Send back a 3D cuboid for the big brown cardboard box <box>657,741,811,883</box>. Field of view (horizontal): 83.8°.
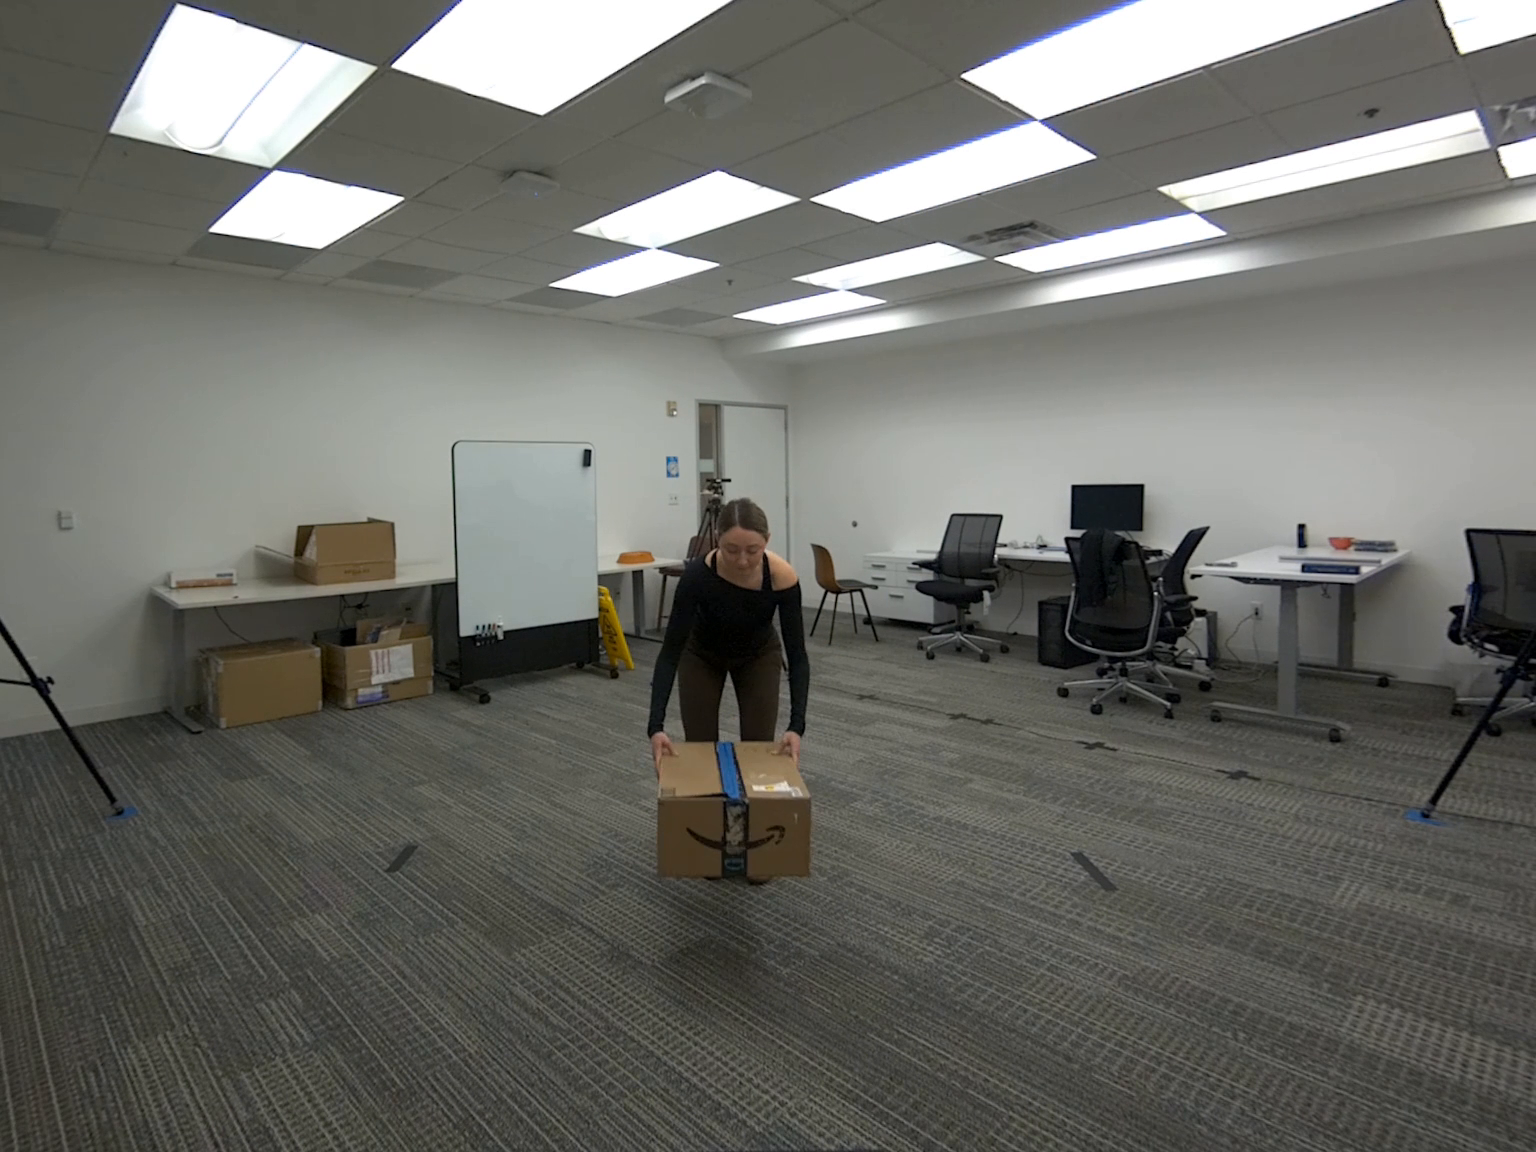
[{"bbox_3d":[-0.123,0.682,2.558,0.416,0.233,0.592,-1,3,-5],"label":"big brown cardboard box"}]
